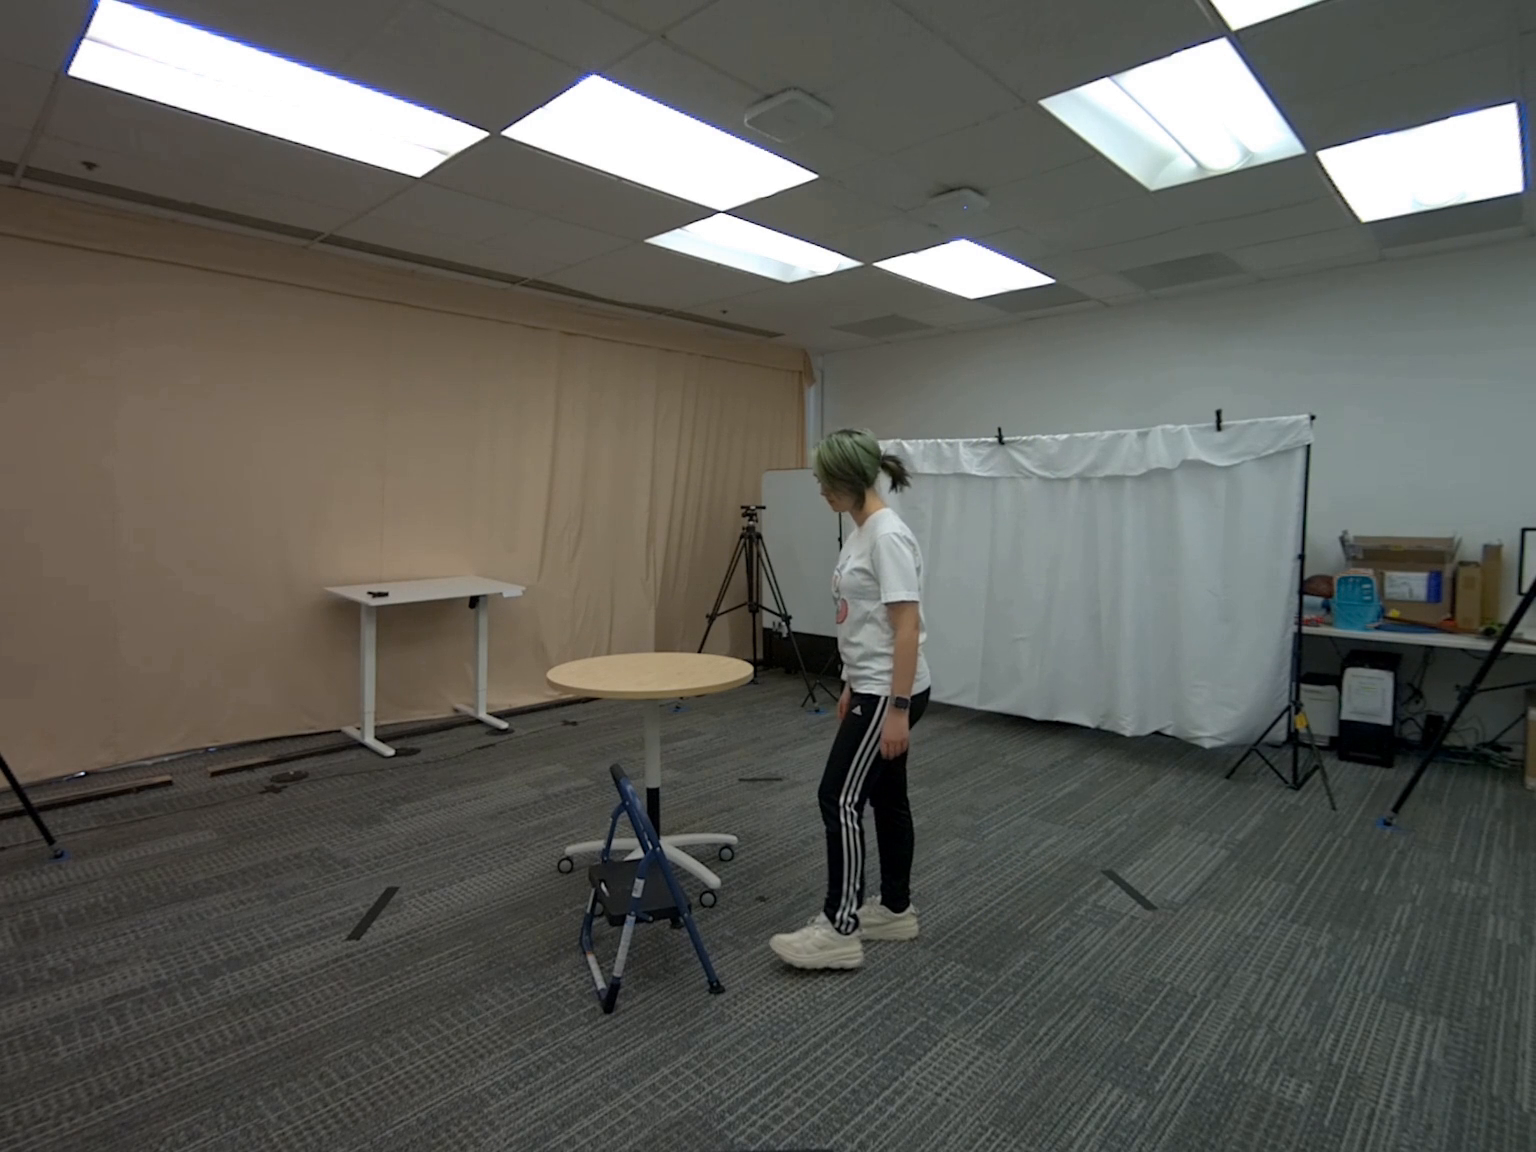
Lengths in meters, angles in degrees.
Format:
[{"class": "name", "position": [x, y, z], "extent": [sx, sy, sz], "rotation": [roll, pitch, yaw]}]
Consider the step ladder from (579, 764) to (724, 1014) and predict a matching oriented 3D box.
[{"class": "step ladder", "position": [-0.367, 0.884, 2.538], "extent": [0.342, 0.605, 0.441], "rotation": [-2, 3, -22]}]
